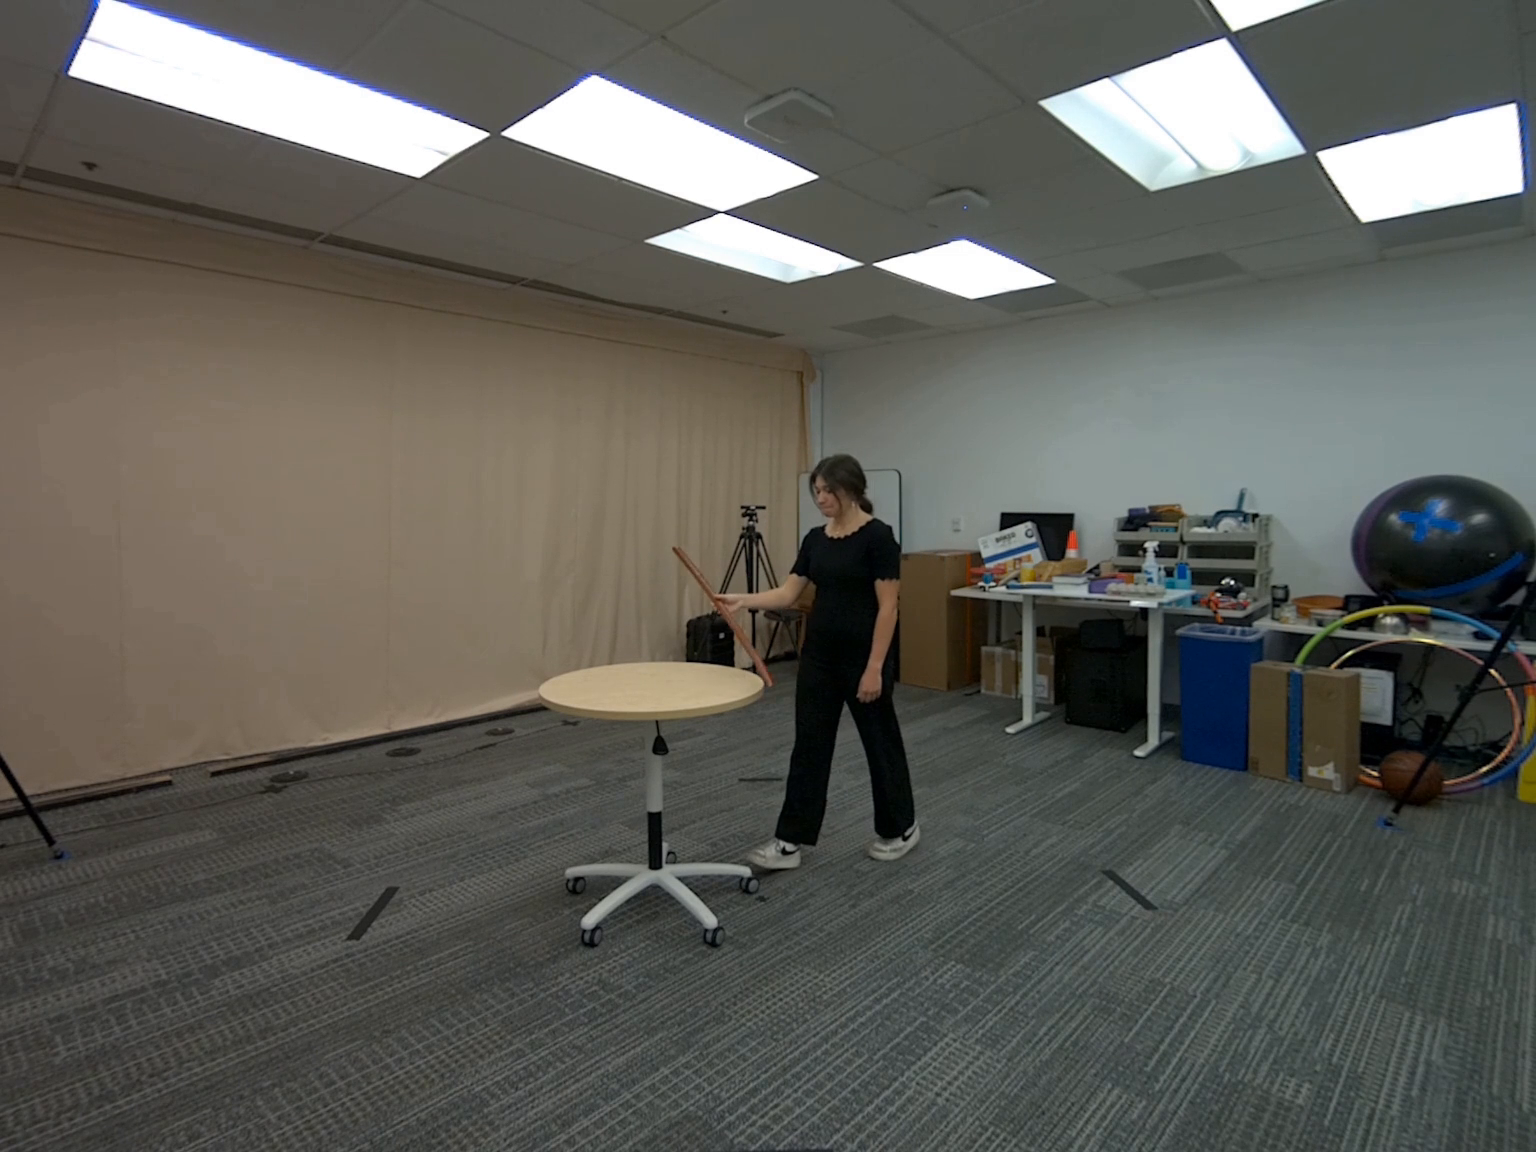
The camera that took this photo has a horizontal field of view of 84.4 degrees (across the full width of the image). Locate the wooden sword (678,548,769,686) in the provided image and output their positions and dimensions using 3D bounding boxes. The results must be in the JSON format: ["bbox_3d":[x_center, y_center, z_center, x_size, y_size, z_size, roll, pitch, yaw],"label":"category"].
[{"bbox_3d":[-0.183,0.119,3.104,0.024,0.050,1.054,-7,28,-15],"label":"wooden sword"}]
